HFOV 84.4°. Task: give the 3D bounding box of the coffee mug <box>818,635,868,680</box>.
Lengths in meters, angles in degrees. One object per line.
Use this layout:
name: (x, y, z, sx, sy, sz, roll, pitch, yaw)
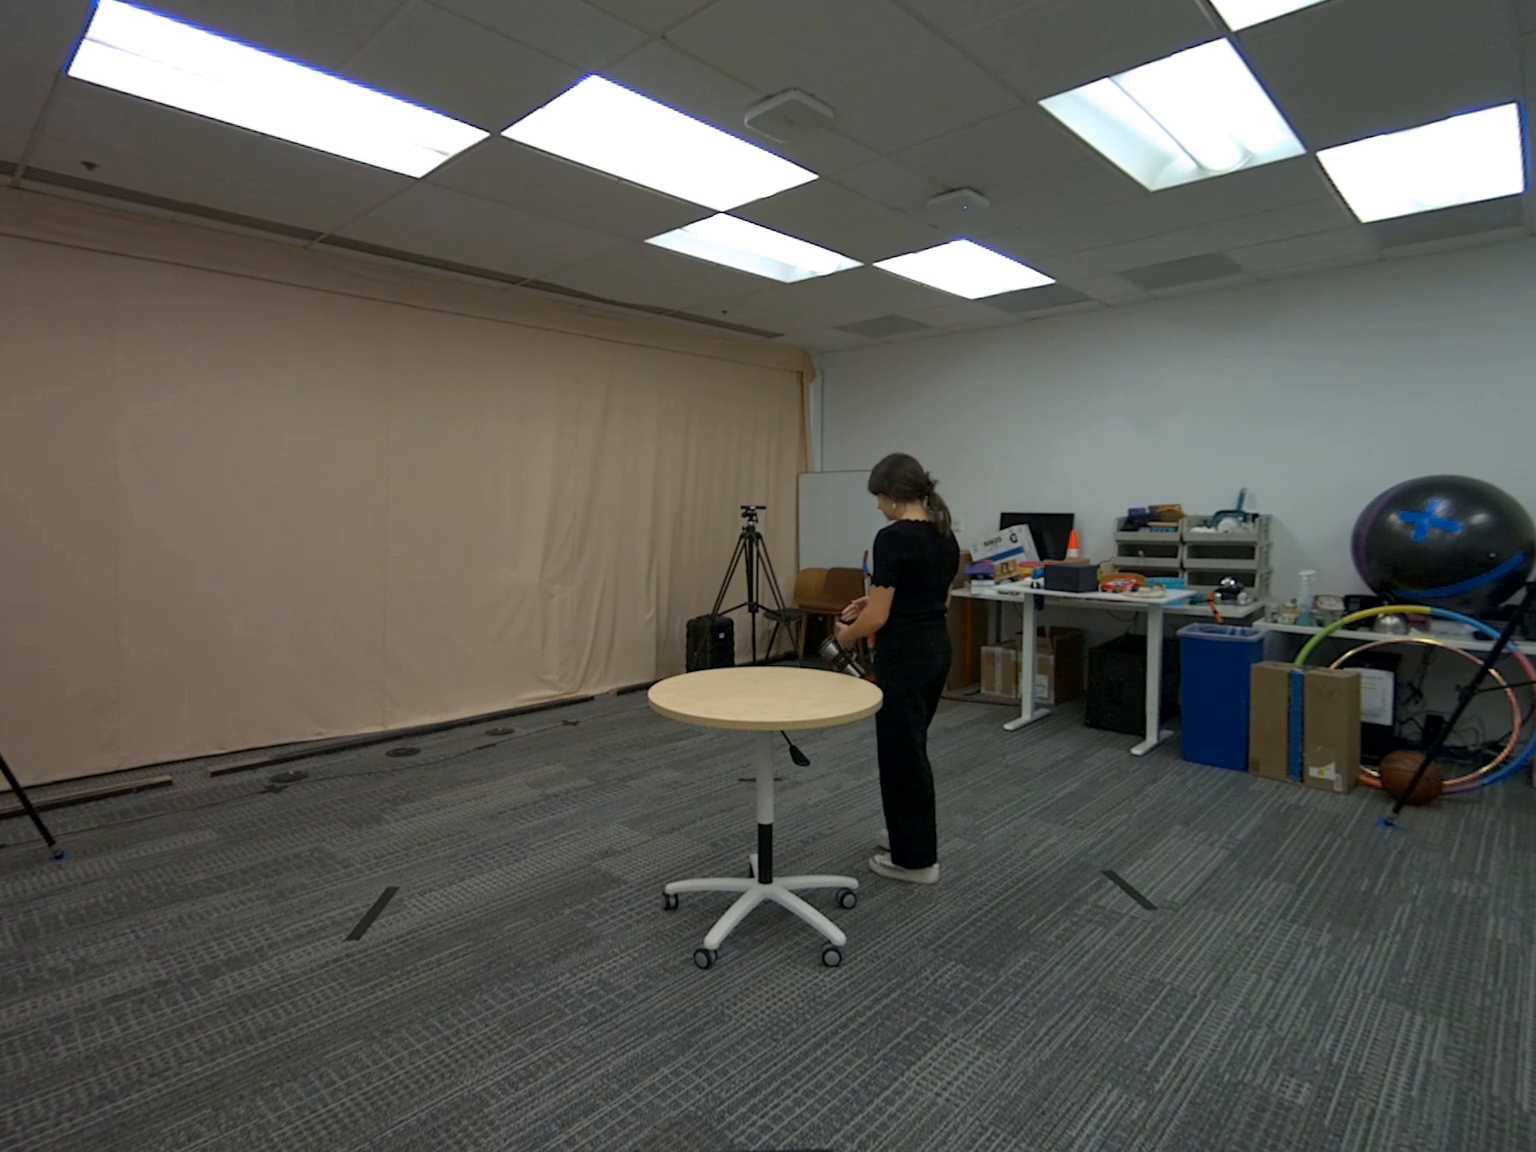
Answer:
coffee mug: (0.316, 0.318, 3.290, 0.208, 0.122, 0.086, 44, 7, 20)
